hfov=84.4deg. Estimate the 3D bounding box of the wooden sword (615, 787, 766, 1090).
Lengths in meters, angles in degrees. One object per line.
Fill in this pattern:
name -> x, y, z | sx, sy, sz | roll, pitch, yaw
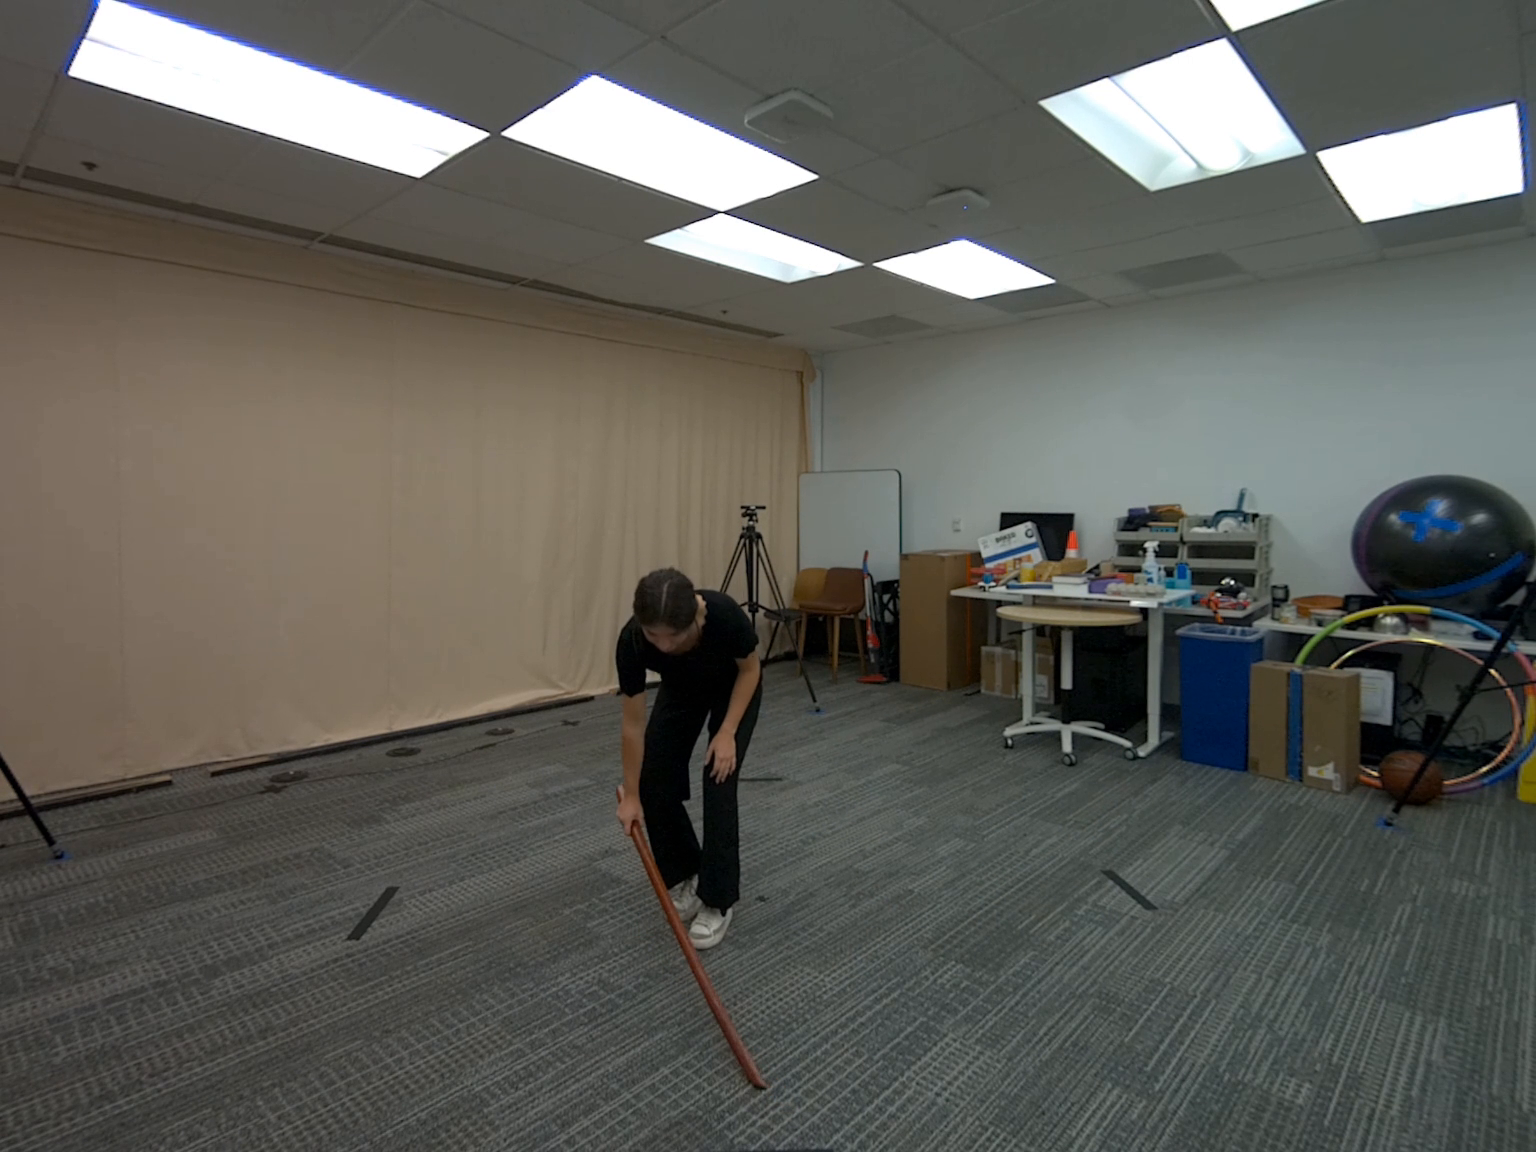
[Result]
wooden sword -> -0.249, 0.970, 2.405 | 0.023, 0.051, 1.061 | 39, 4, -41
